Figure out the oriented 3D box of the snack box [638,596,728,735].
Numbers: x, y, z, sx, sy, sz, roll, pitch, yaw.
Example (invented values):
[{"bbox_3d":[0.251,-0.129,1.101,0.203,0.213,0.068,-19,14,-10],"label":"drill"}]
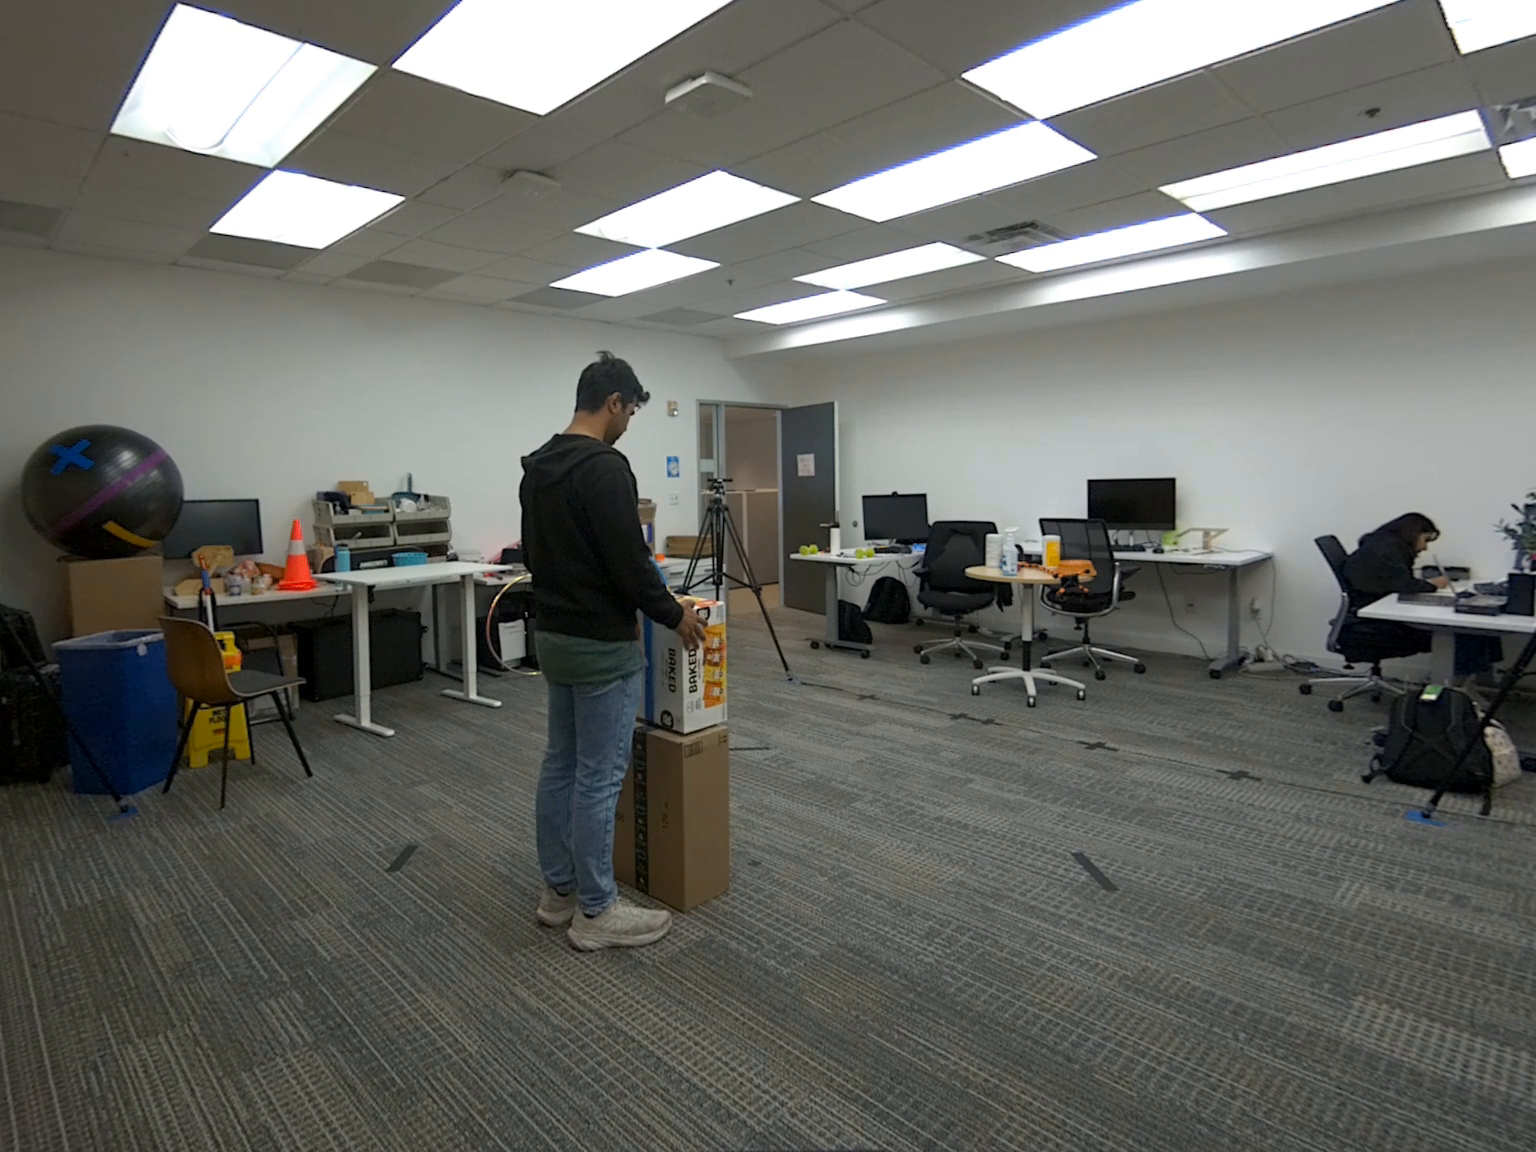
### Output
[{"bbox_3d":[-0.326,0.280,2.946,0.351,0.403,0.200,5,9,44],"label":"snack box"}]
